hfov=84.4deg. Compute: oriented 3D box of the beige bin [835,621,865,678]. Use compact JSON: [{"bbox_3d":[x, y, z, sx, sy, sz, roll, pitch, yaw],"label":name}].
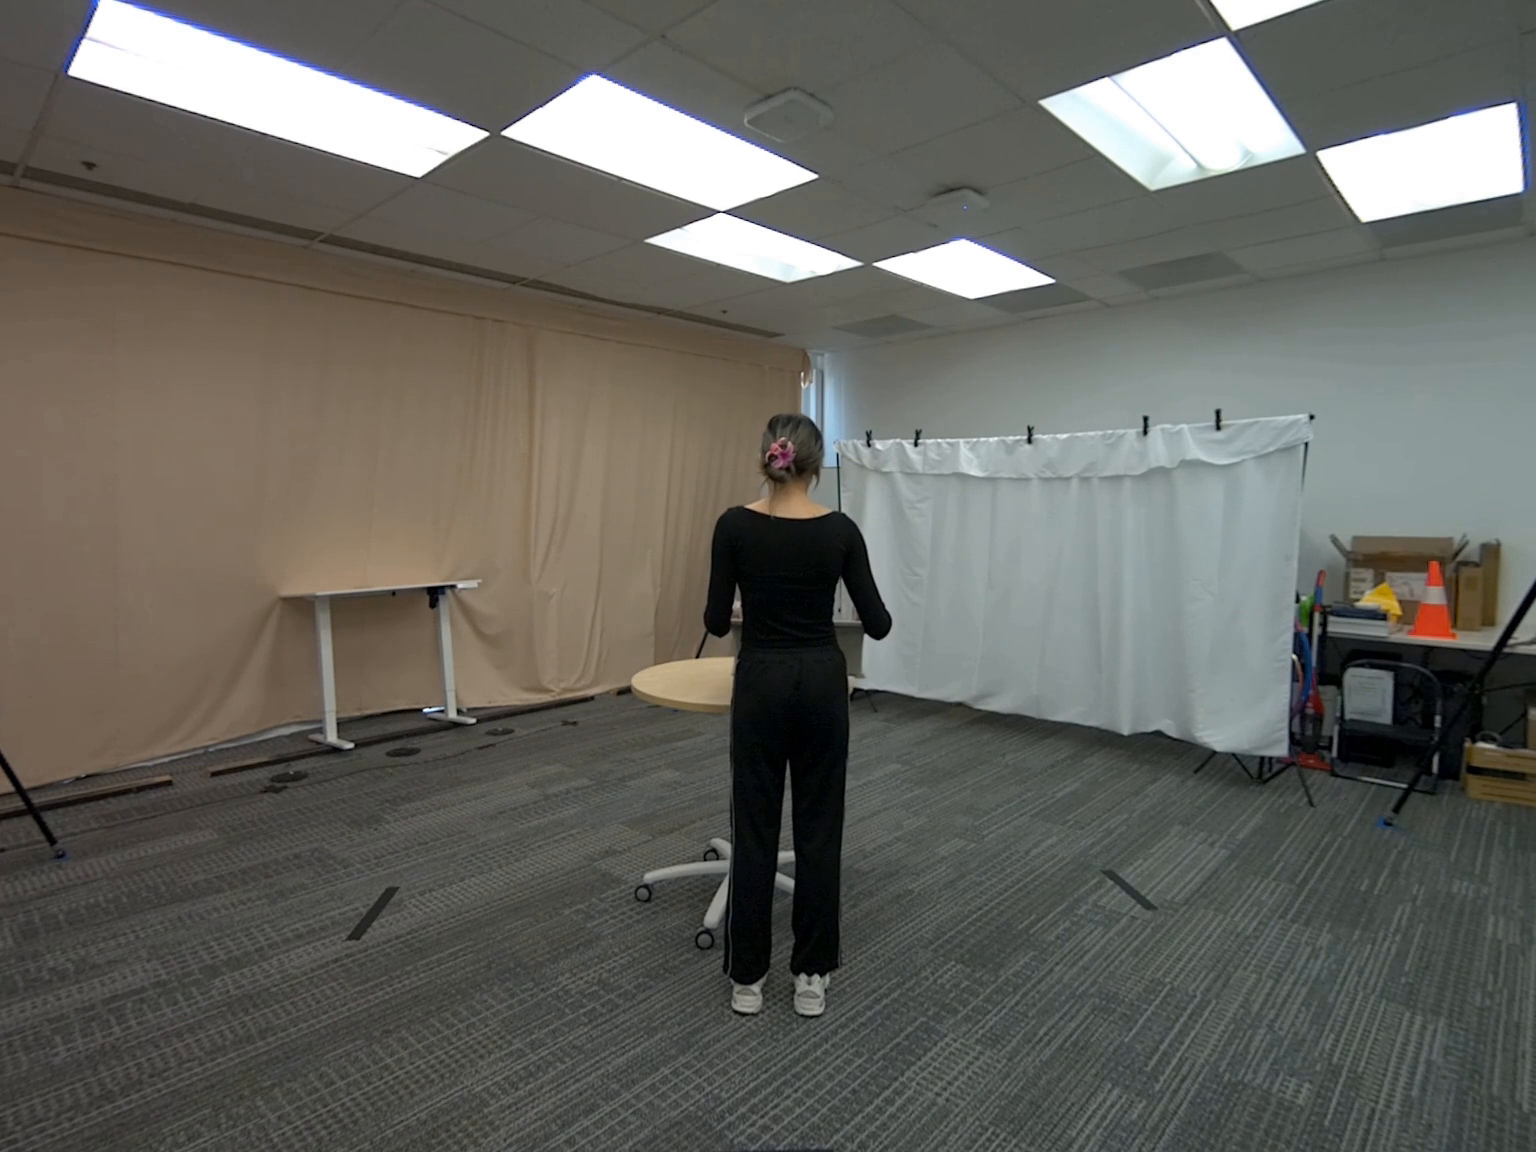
[{"bbox_3d":[0.105,0.198,2.744,0.424,0.188,0.378,1,10,3],"label":"beige bin"}]
